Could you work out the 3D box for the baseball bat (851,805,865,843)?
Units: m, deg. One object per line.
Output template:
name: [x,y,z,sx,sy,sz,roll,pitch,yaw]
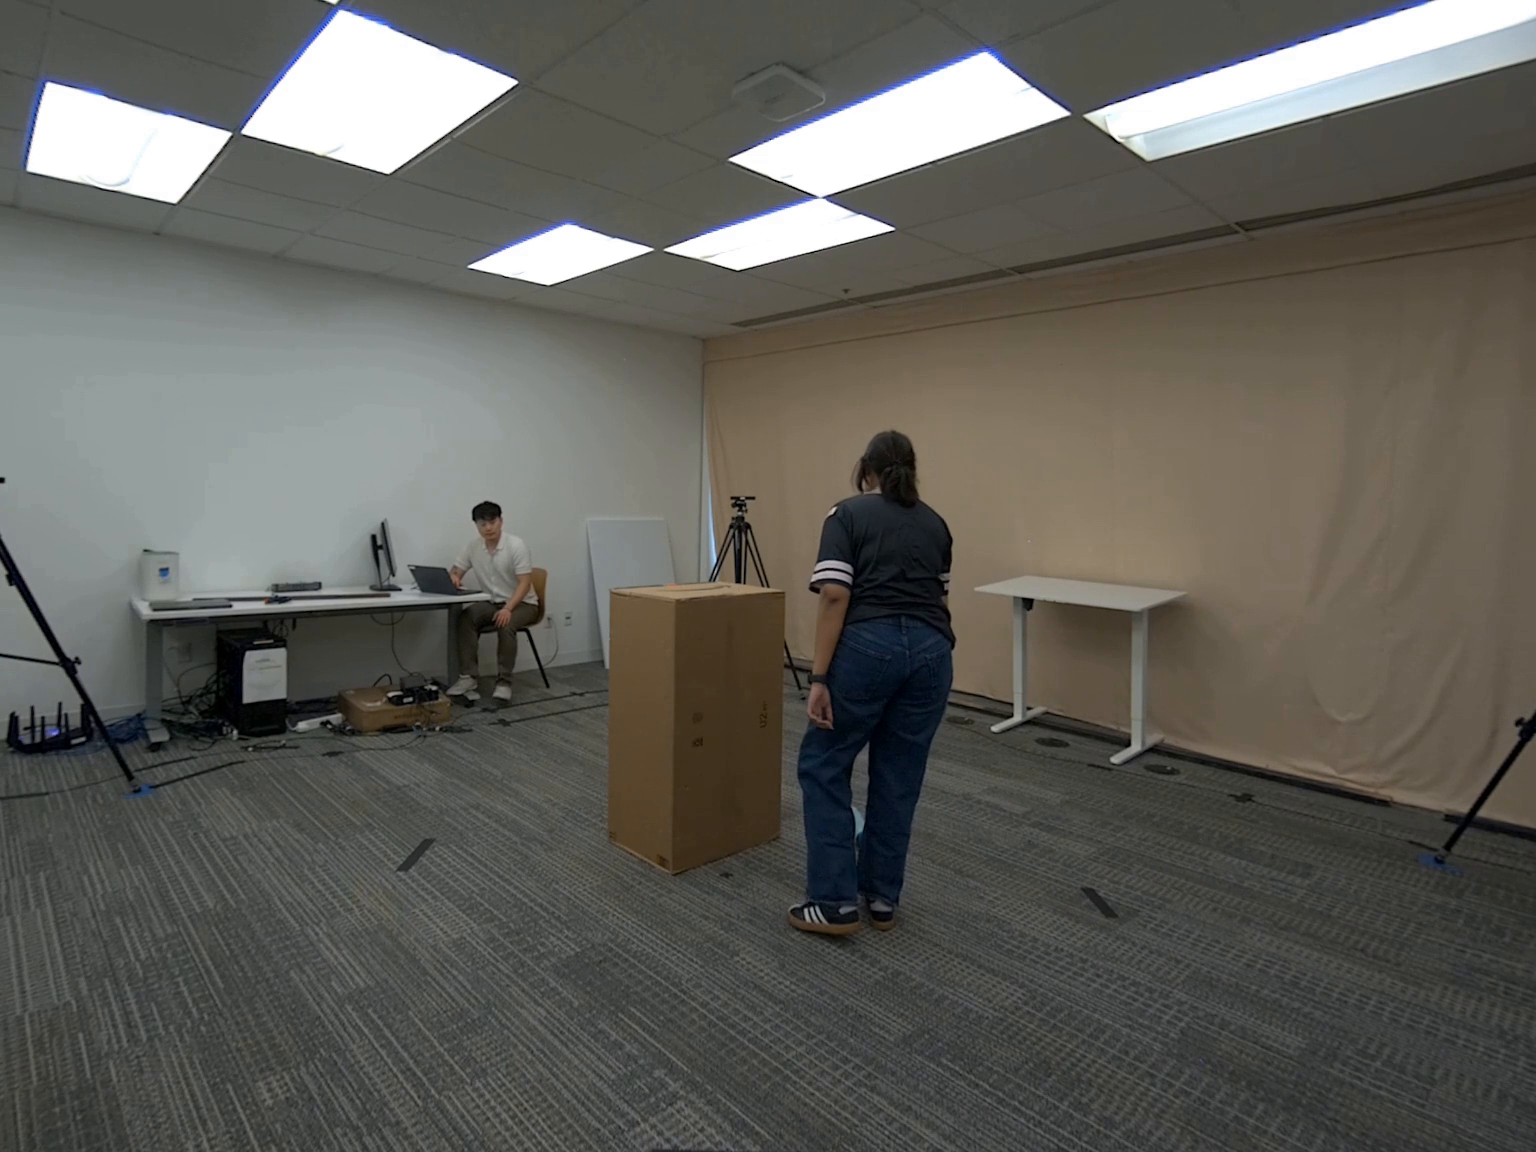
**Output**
baseball bat: [0.377,1.061,3.350,0.088,0.088,0.548,1,7,-7]
